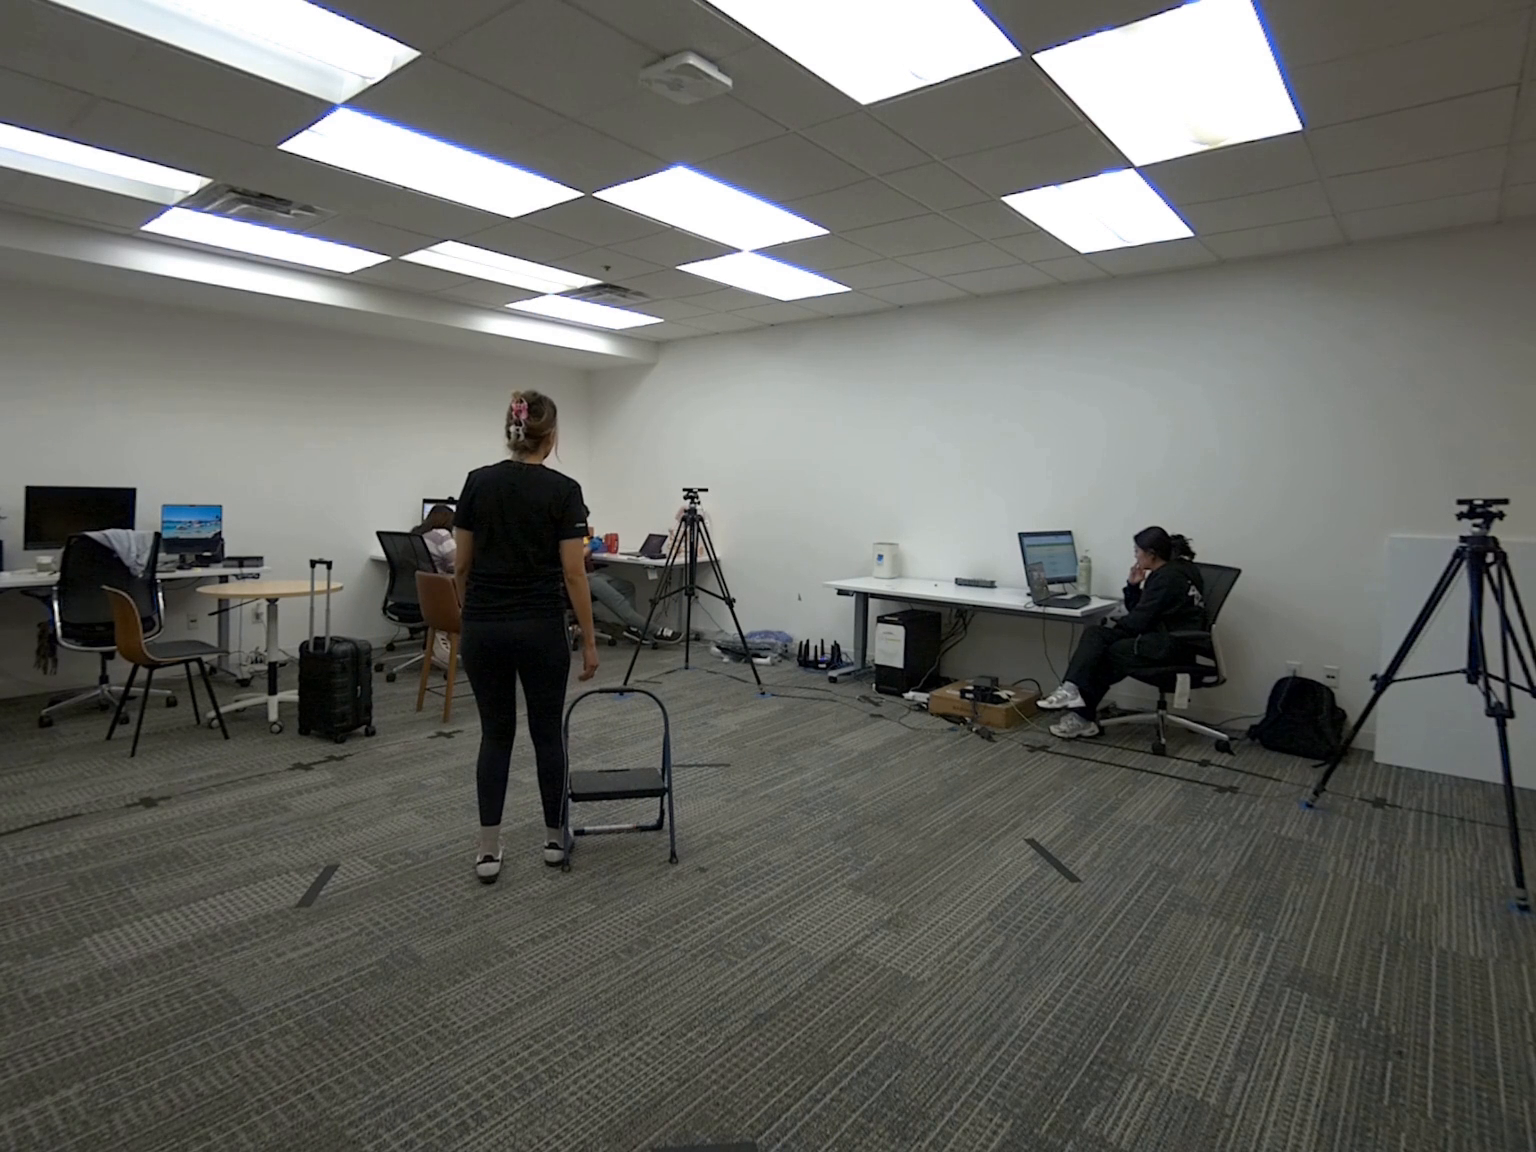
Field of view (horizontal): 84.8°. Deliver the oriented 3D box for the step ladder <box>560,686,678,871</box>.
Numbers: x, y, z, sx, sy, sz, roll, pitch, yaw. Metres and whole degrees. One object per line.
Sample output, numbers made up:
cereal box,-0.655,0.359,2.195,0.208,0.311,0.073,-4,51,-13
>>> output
step ladder,-0.588,0.743,3.268,0.424,0.604,0.355,1,3,-14
